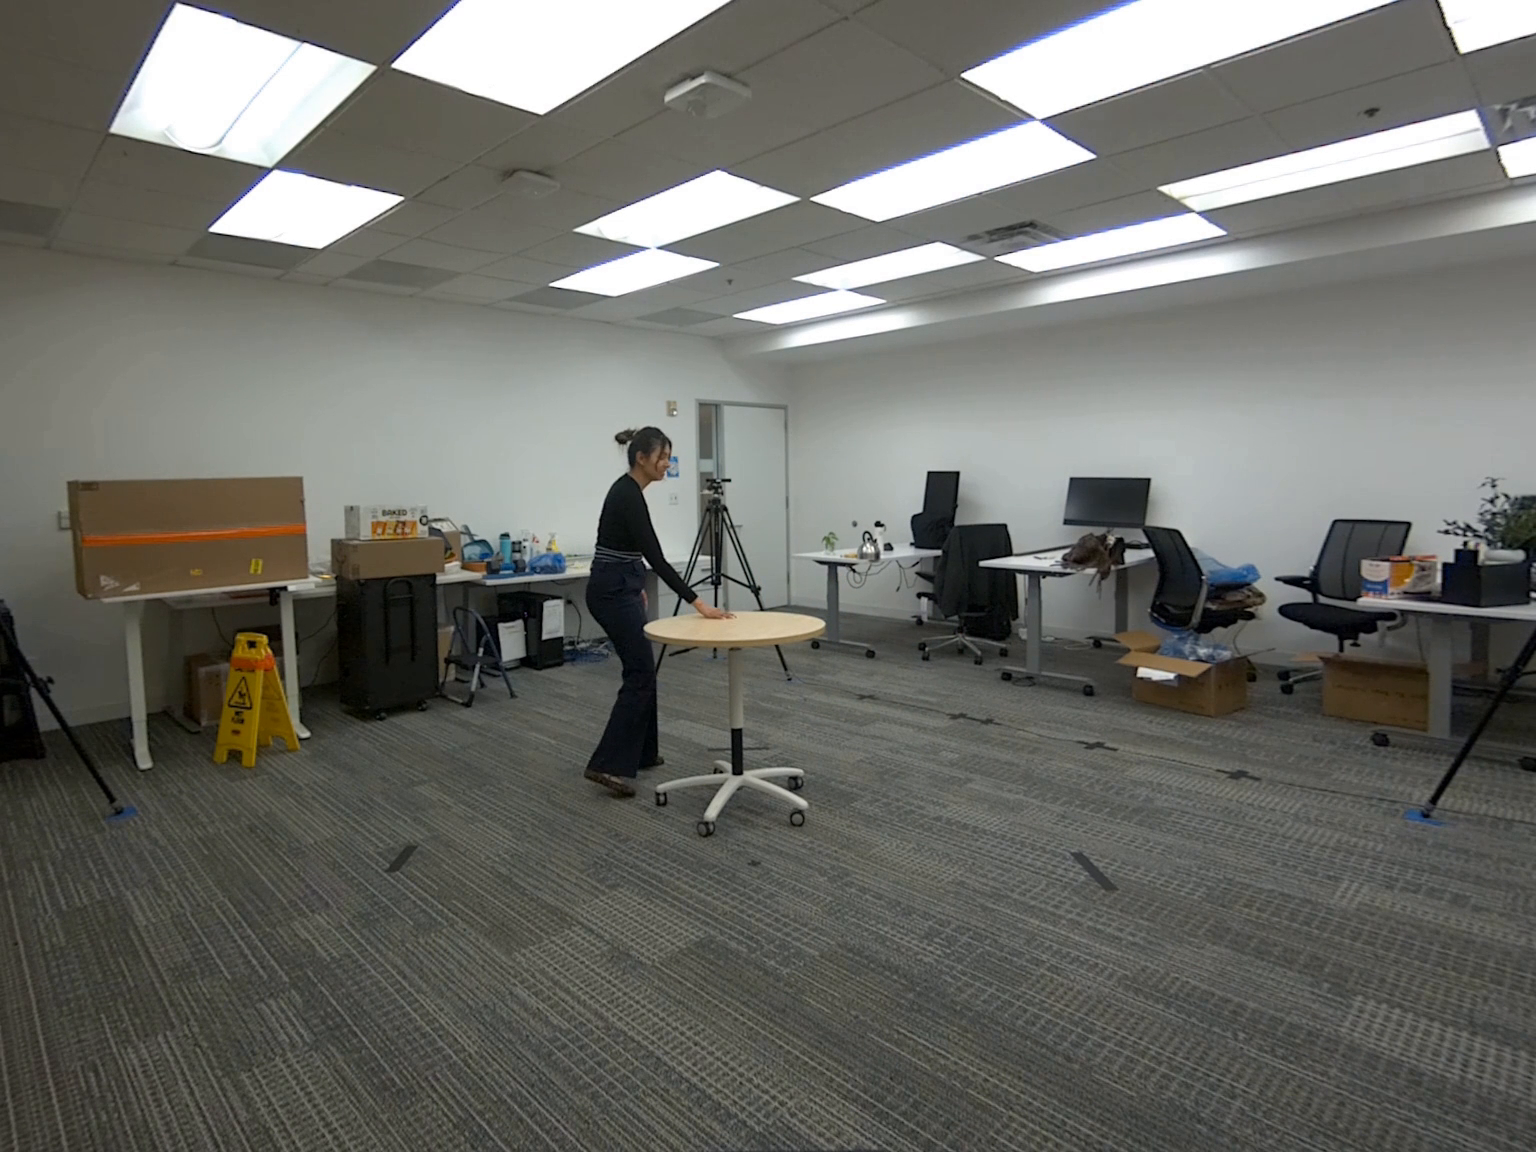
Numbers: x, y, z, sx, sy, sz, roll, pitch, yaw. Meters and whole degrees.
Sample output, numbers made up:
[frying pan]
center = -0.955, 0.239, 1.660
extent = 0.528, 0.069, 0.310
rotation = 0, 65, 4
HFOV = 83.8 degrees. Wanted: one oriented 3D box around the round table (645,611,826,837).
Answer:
[round table]
center = -0.130, 0.598, 3.630
extent = 0.763, 0.791, 0.767
rotation = -1, 4, -2
